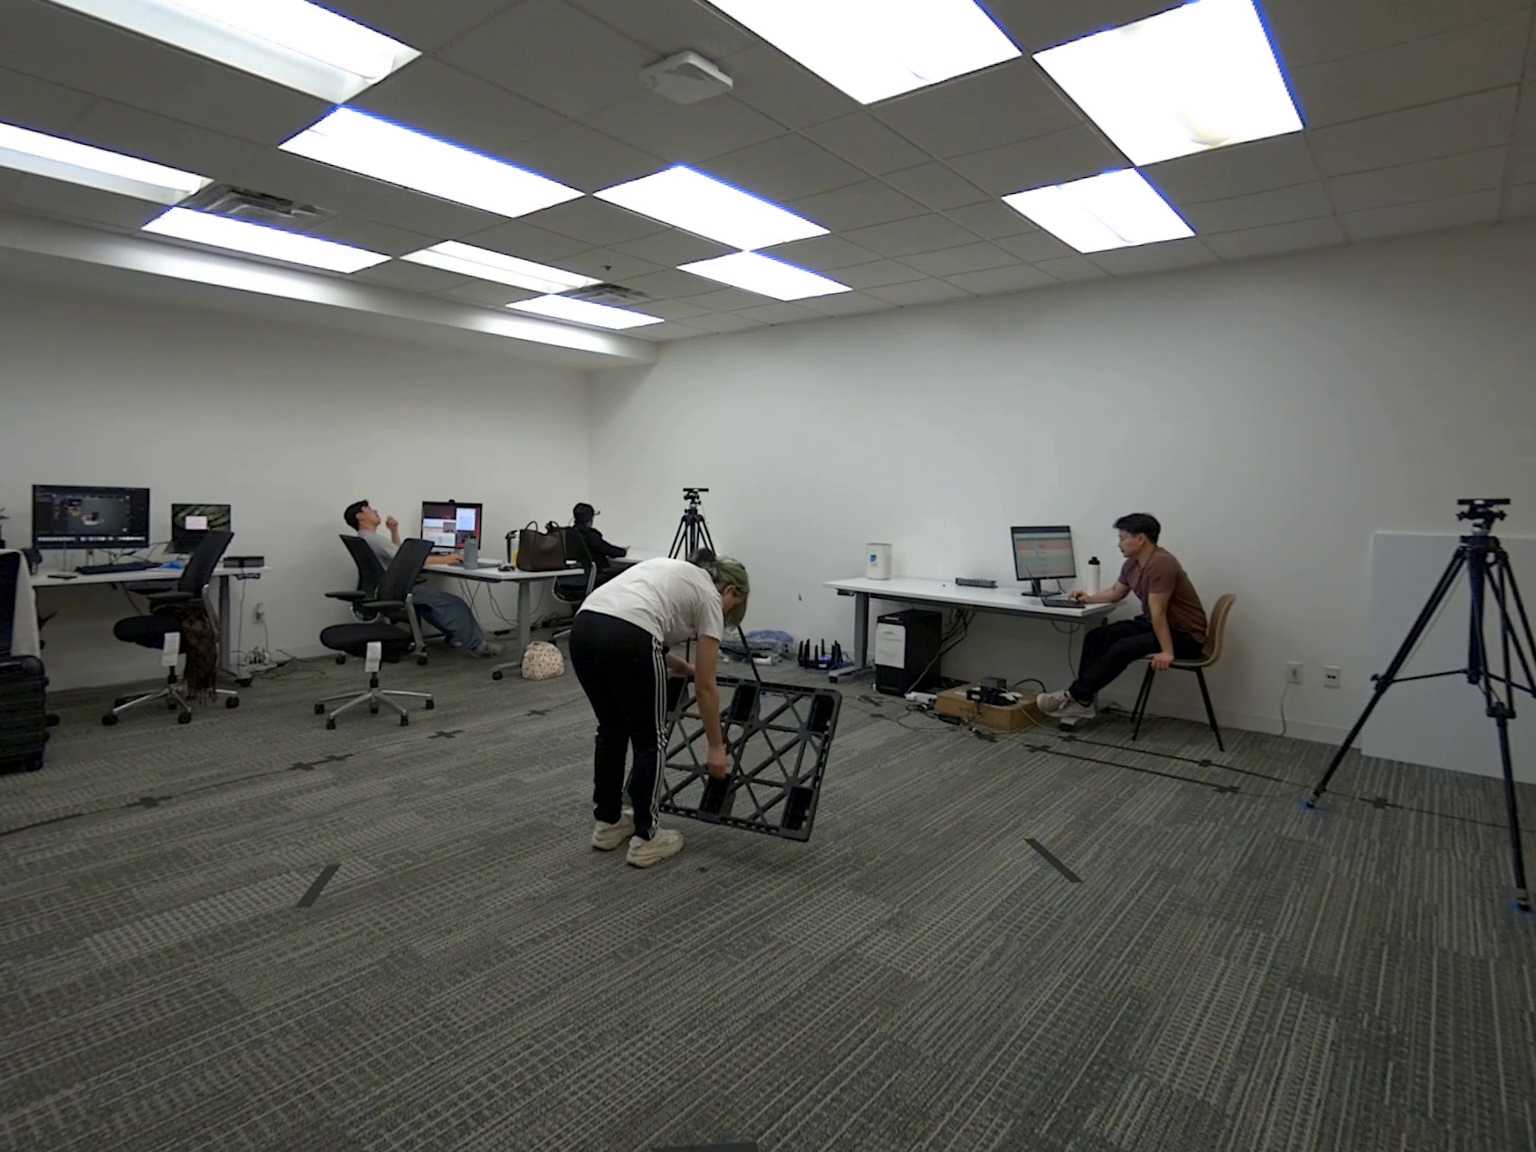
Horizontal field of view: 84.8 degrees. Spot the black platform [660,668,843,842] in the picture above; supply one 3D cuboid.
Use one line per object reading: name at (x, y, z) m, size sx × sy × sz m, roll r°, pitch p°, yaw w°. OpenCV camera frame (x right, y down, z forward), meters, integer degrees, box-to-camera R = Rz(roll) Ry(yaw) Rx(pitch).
black platform at (-0.138, 0.710, 3.425) m, size 0.827 × 0.614 × 0.137 m, roll 3°, pitch -33°, yaw 26°
